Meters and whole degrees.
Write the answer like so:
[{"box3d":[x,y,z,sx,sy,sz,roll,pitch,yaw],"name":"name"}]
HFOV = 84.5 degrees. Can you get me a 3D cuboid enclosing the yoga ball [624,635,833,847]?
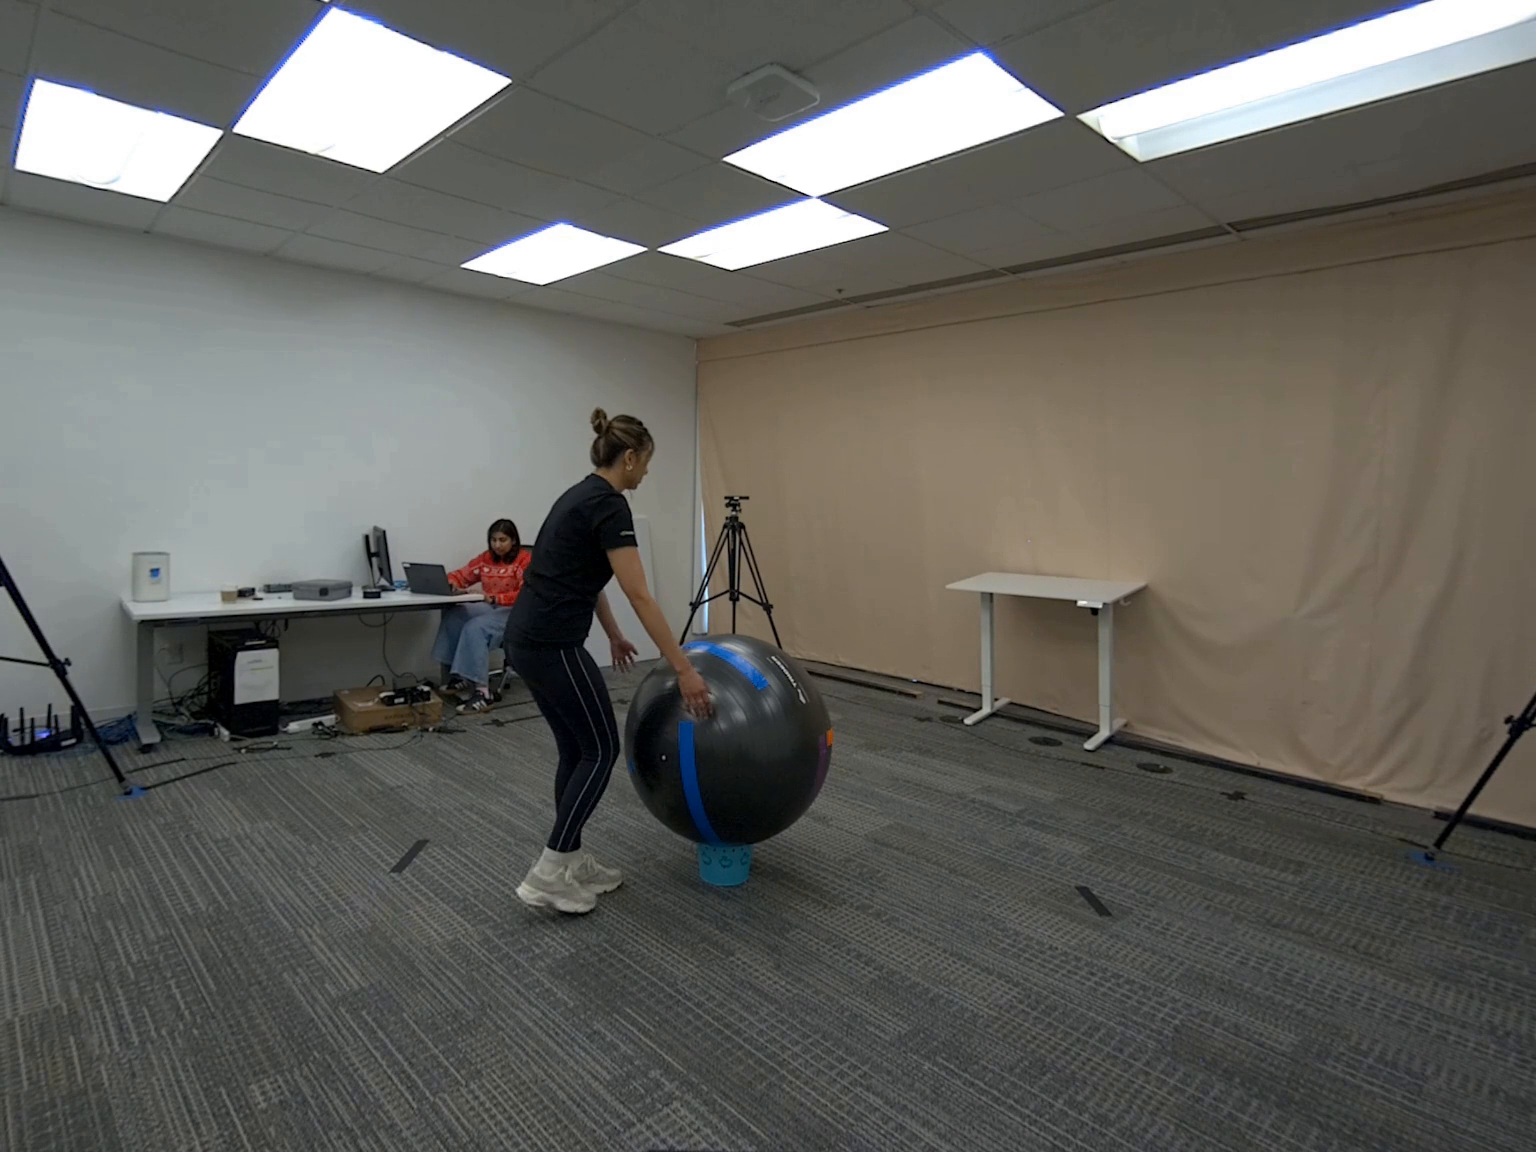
[{"box3d":[-0.150,0.591,3.075,0.757,0.756,0.761,1,4,-1],"name":"yoga ball"}]
